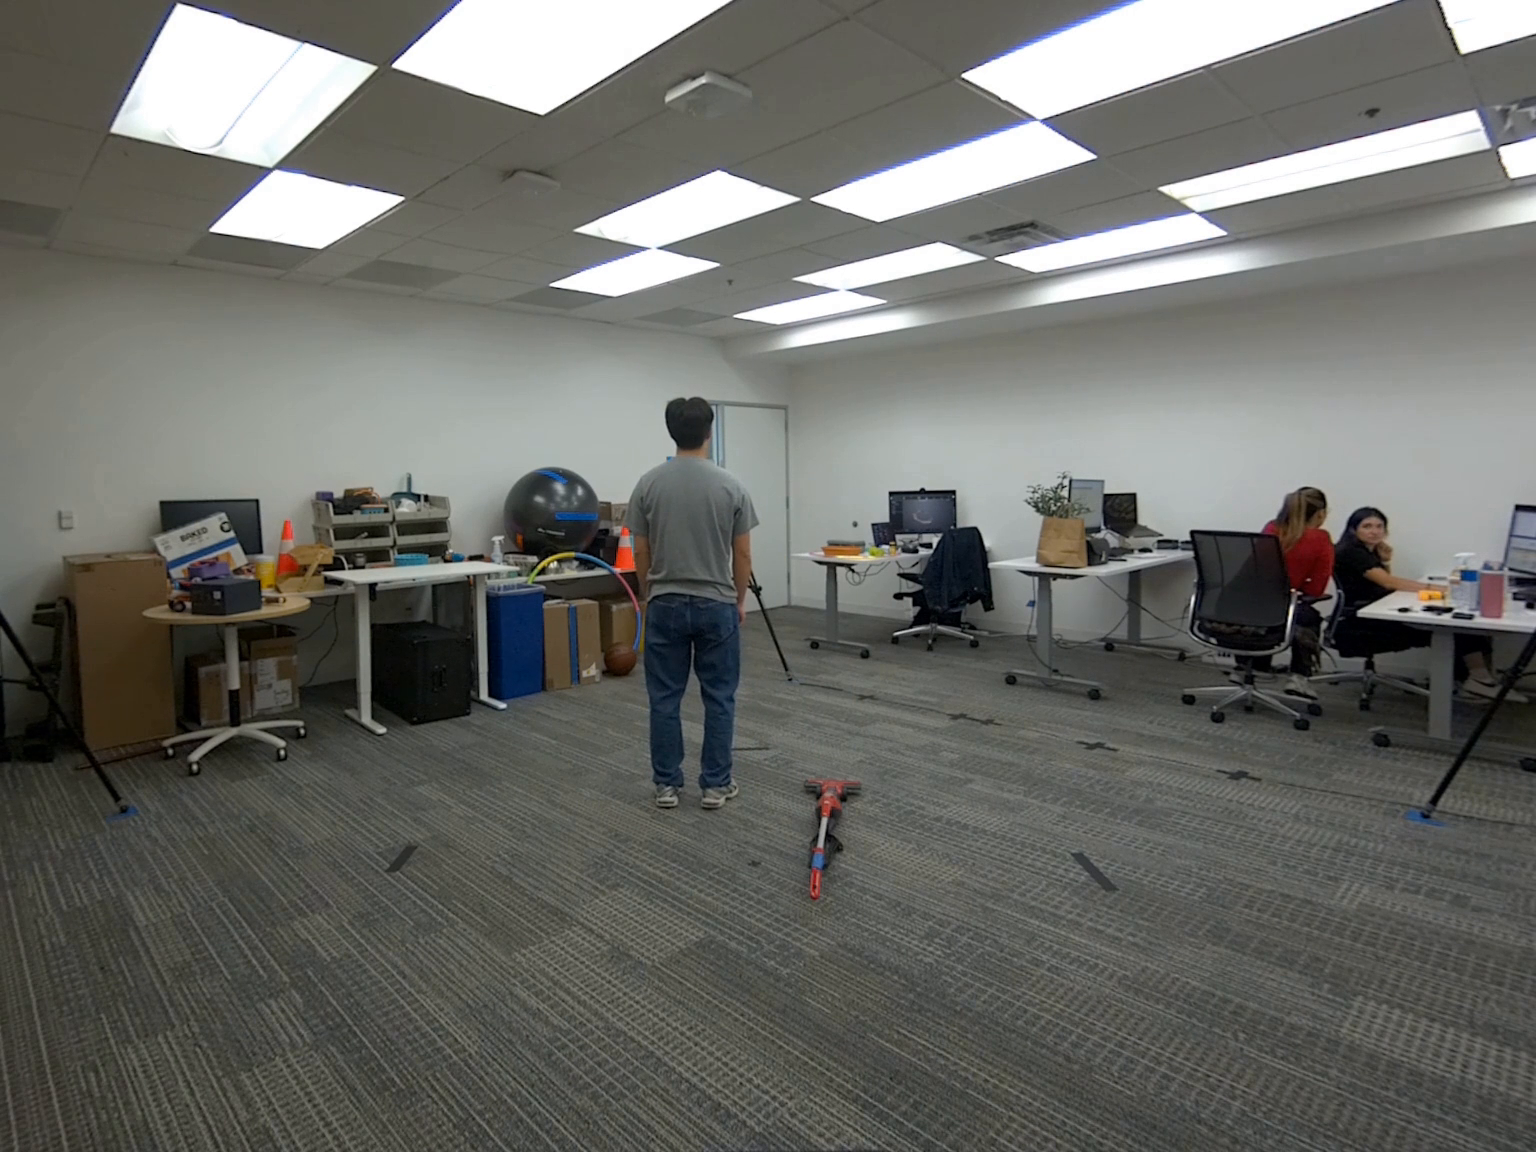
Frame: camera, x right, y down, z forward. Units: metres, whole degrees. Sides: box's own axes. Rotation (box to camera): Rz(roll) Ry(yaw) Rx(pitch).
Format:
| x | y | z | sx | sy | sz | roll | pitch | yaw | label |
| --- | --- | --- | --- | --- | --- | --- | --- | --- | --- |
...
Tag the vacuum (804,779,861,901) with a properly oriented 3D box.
| x | y | z | sx | sy | sz | roll | pitch | yaw | label |
| --- | --- | --- | --- | --- | --- | --- | --- | --- | --- |
| 0.211 | 0.966 | 3.215 | 0.255 | 0.143 | 1.043 | 6 | 6 | 7 | vacuum |
